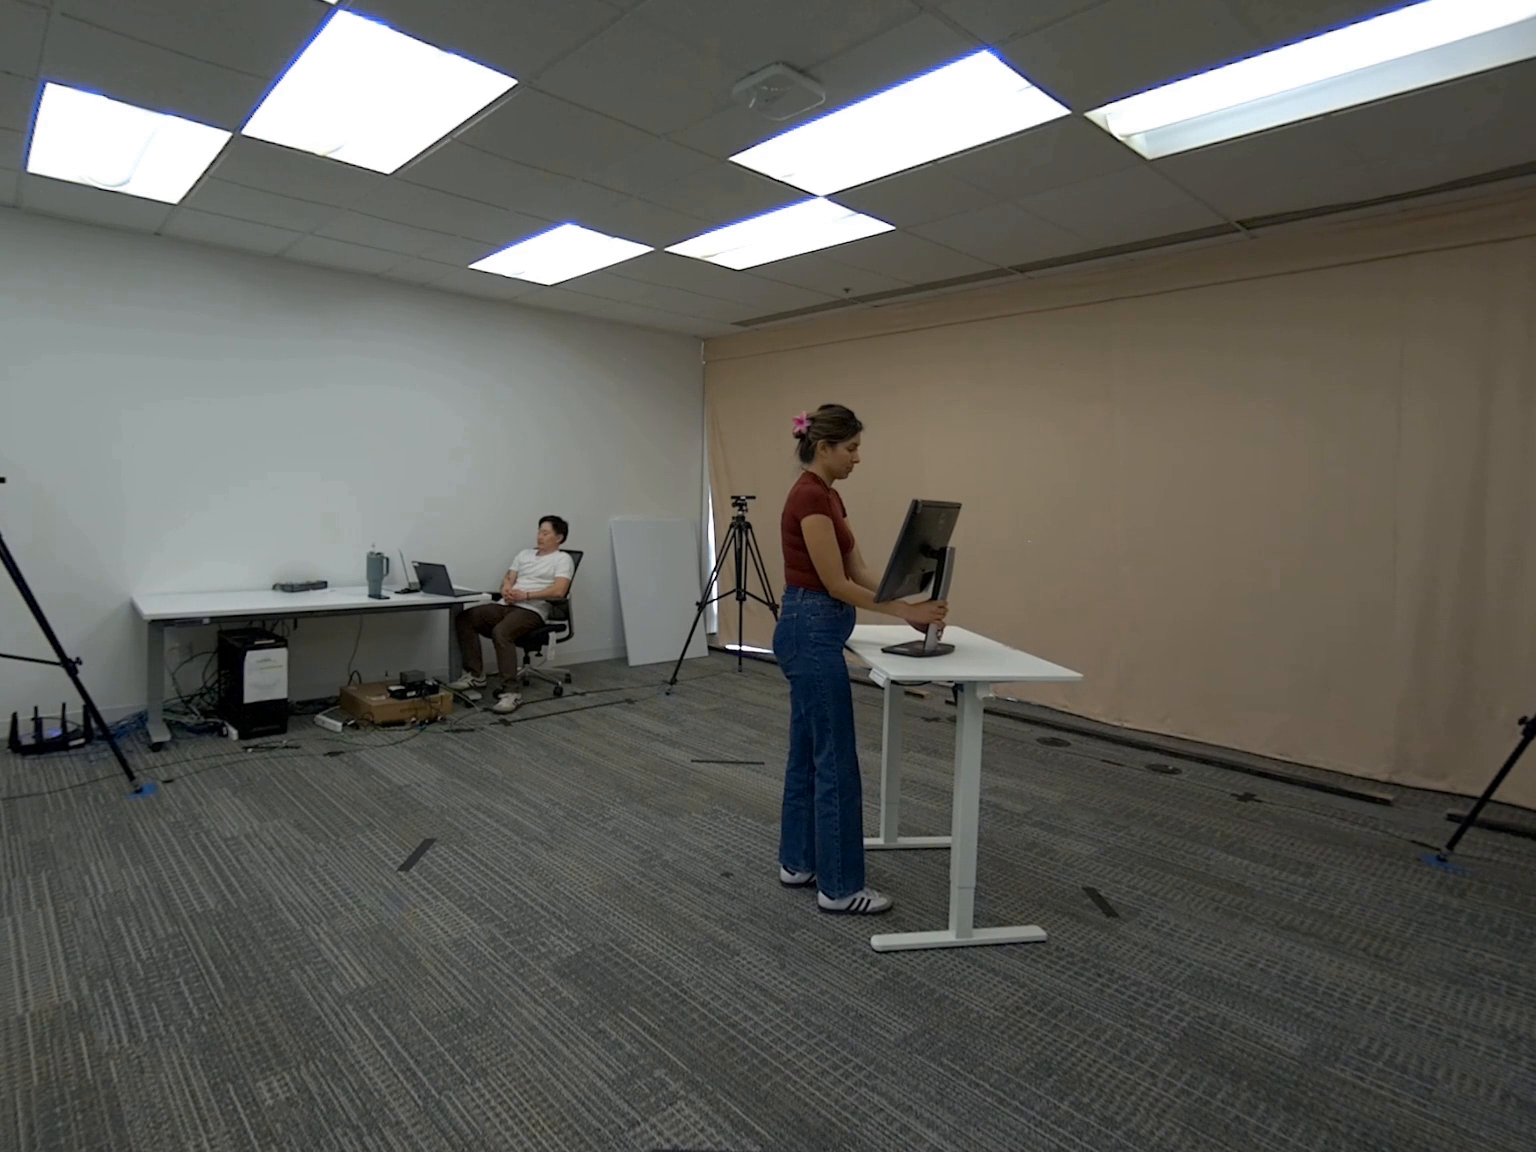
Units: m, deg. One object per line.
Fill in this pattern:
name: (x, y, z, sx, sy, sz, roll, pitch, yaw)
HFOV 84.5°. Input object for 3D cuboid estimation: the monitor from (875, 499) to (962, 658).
monitor: (0.536, 0.005, 2.850, 0.191, 0.521, 0.529, 8, 6, 26)
